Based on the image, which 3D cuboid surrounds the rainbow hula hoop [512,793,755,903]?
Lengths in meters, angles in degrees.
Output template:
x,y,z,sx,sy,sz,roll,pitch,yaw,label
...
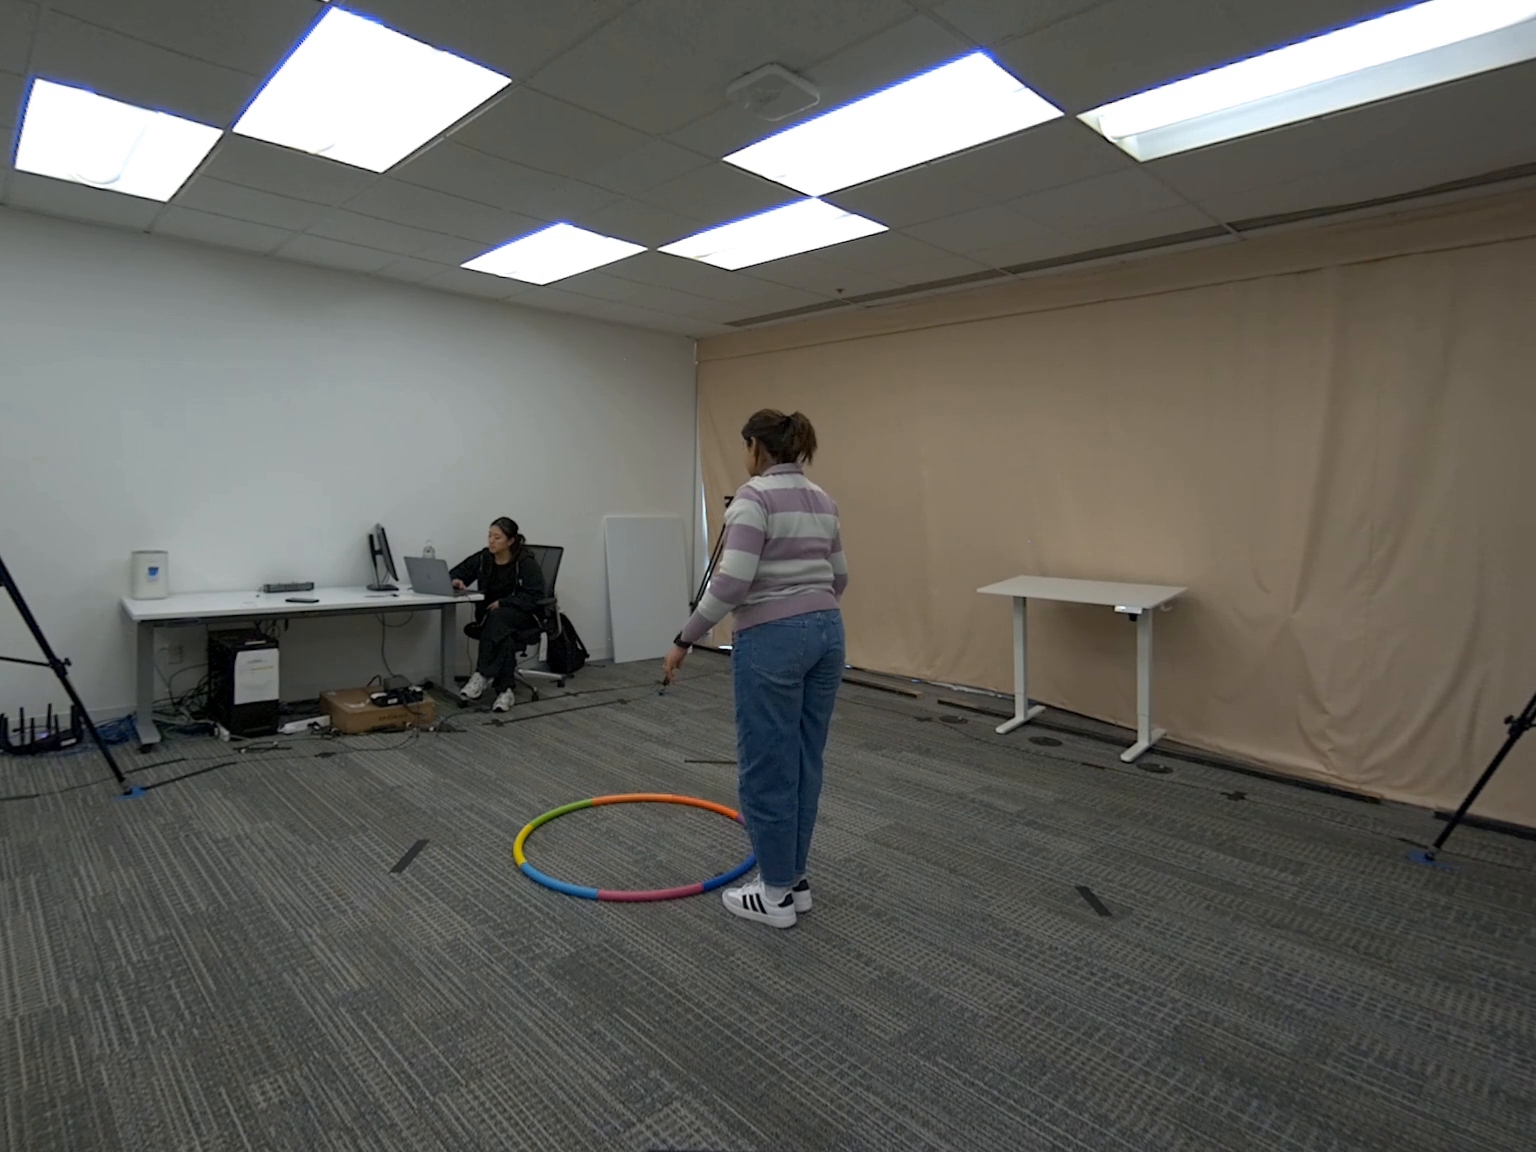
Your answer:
x,y,z,sx,sy,sz,roll,pitch,yaw,label
-0.514,1.042,3.366,0.978,0.035,0.982,1,5,-1,rainbow hula hoop
